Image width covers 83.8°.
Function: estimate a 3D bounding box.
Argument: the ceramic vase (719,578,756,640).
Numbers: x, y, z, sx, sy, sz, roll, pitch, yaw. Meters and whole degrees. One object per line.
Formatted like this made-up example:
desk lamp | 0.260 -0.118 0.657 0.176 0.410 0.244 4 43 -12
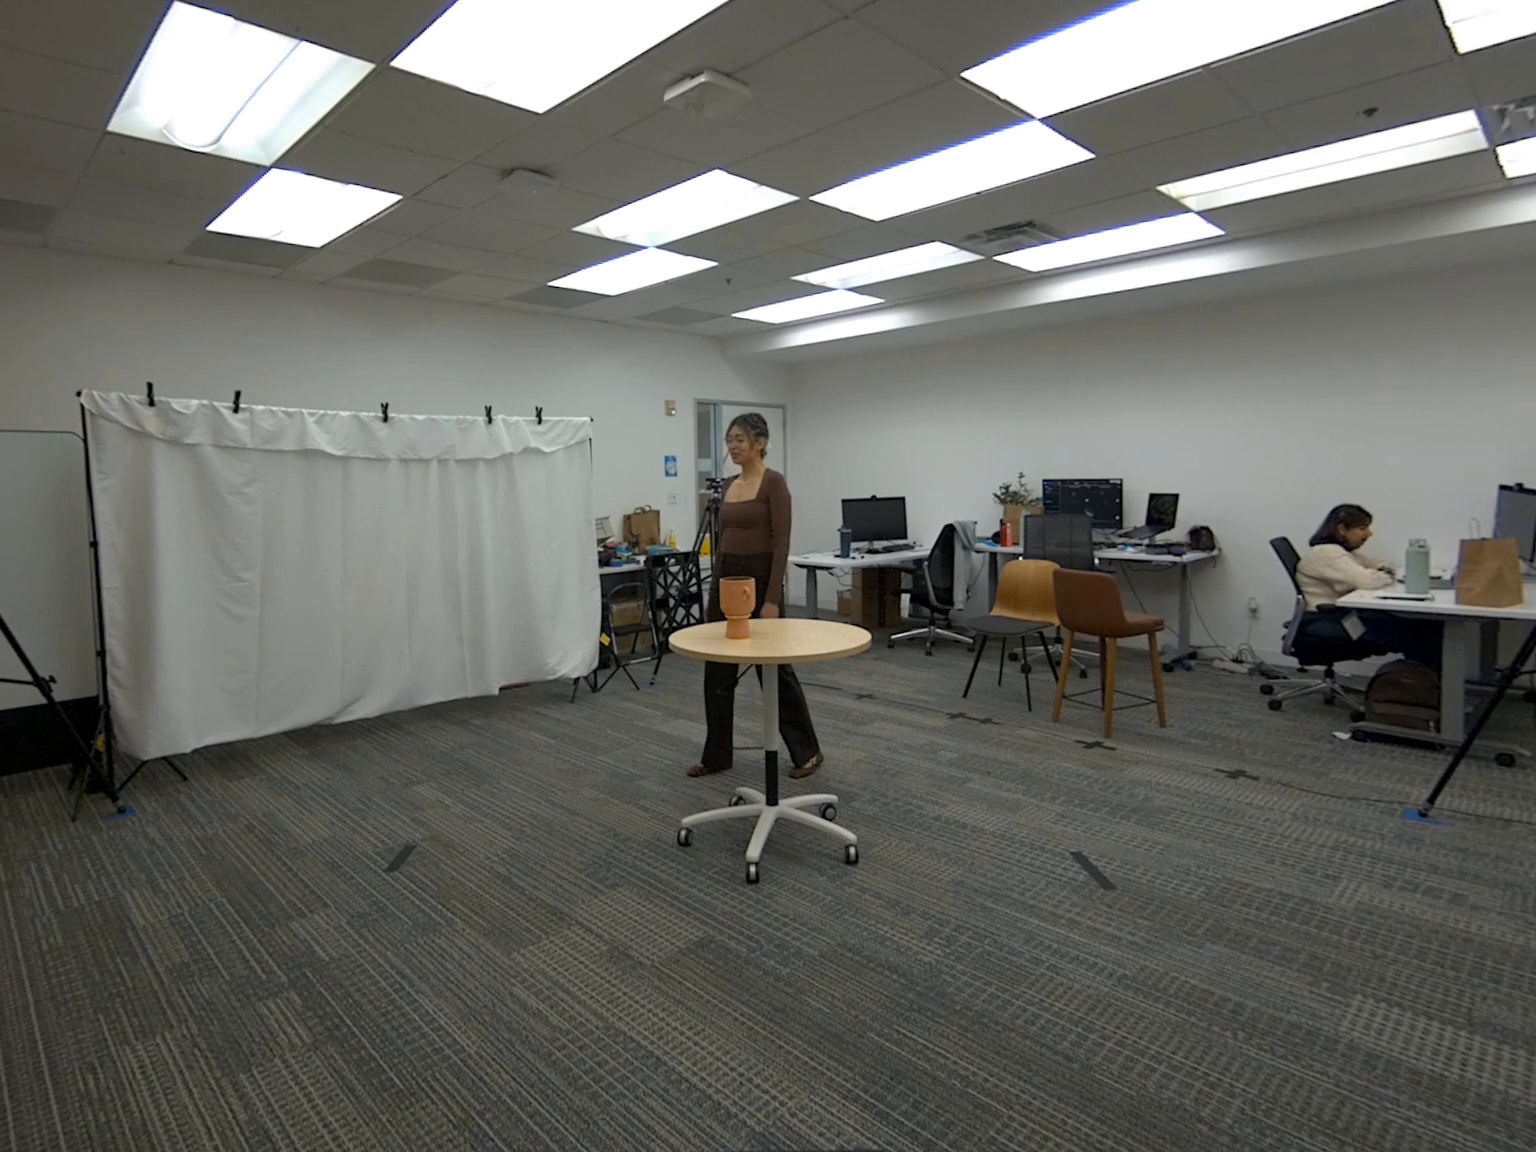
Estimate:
ceramic vase | -0.120 0.125 3.237 0.136 0.219 0.157 -2 4 15
